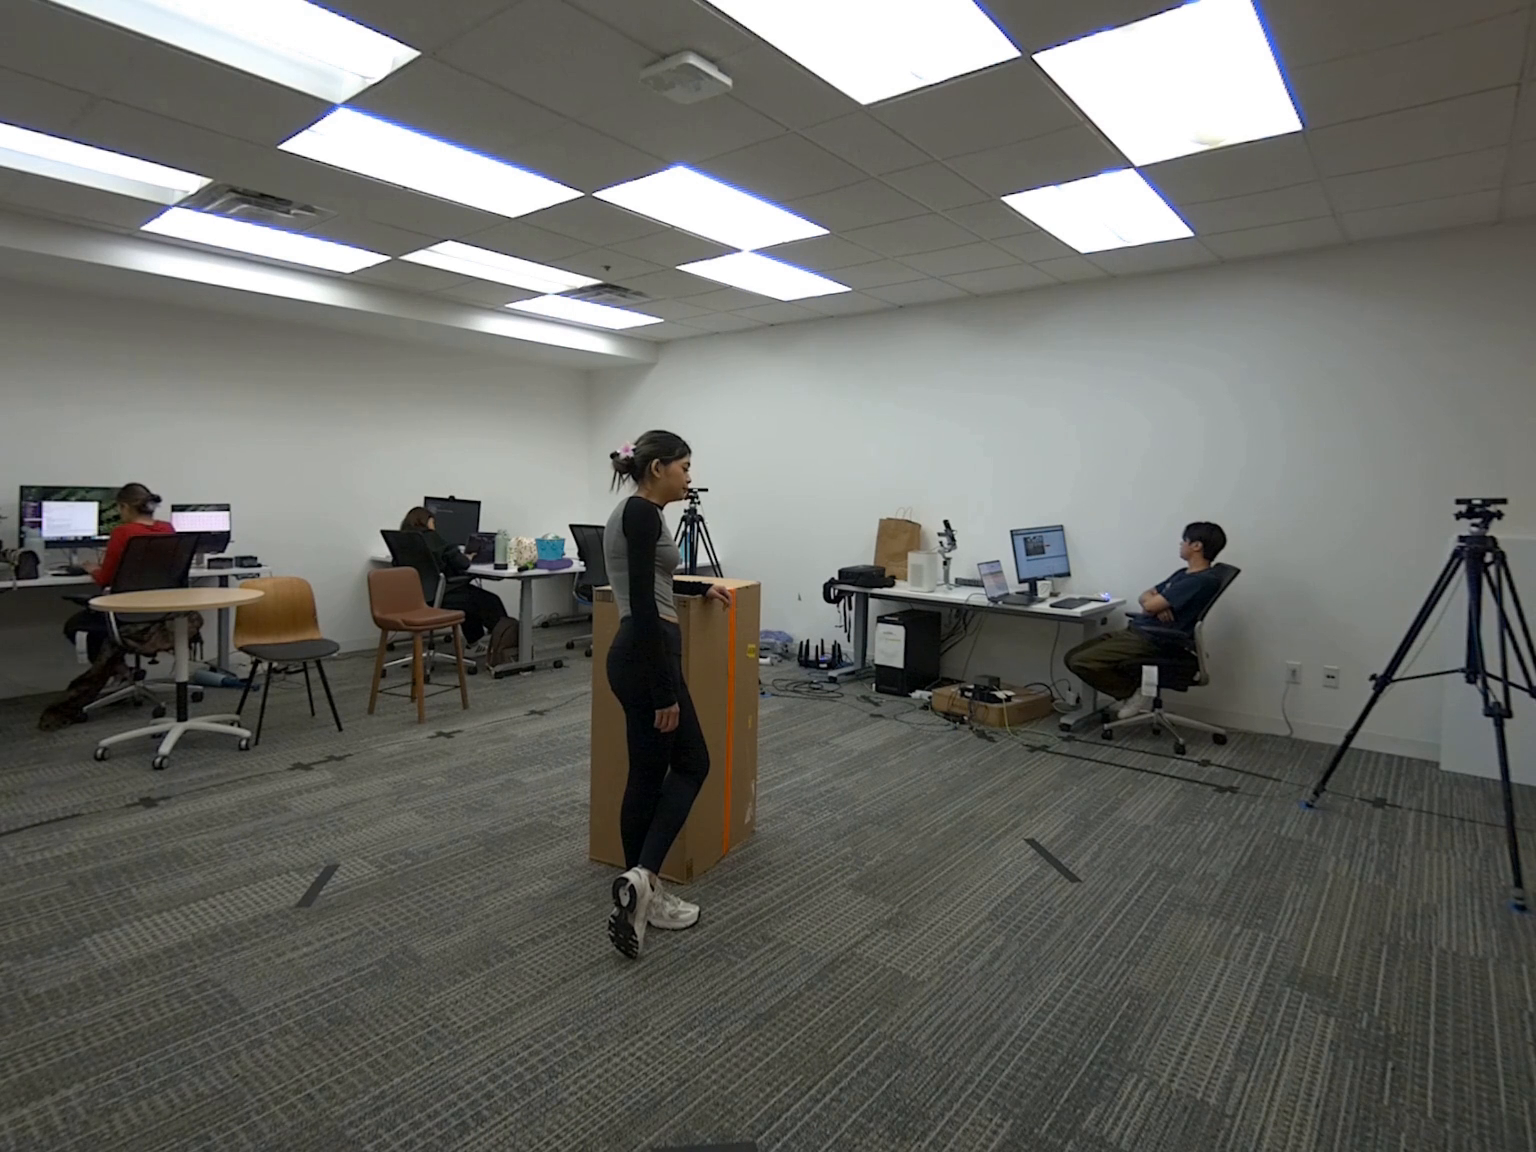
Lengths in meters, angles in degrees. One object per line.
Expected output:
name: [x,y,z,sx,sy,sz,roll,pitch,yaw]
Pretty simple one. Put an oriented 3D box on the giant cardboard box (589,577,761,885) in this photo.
giant cardboard box: [-0.355,0.540,3.305,0.438,1.022,0.564,3,4,27]
